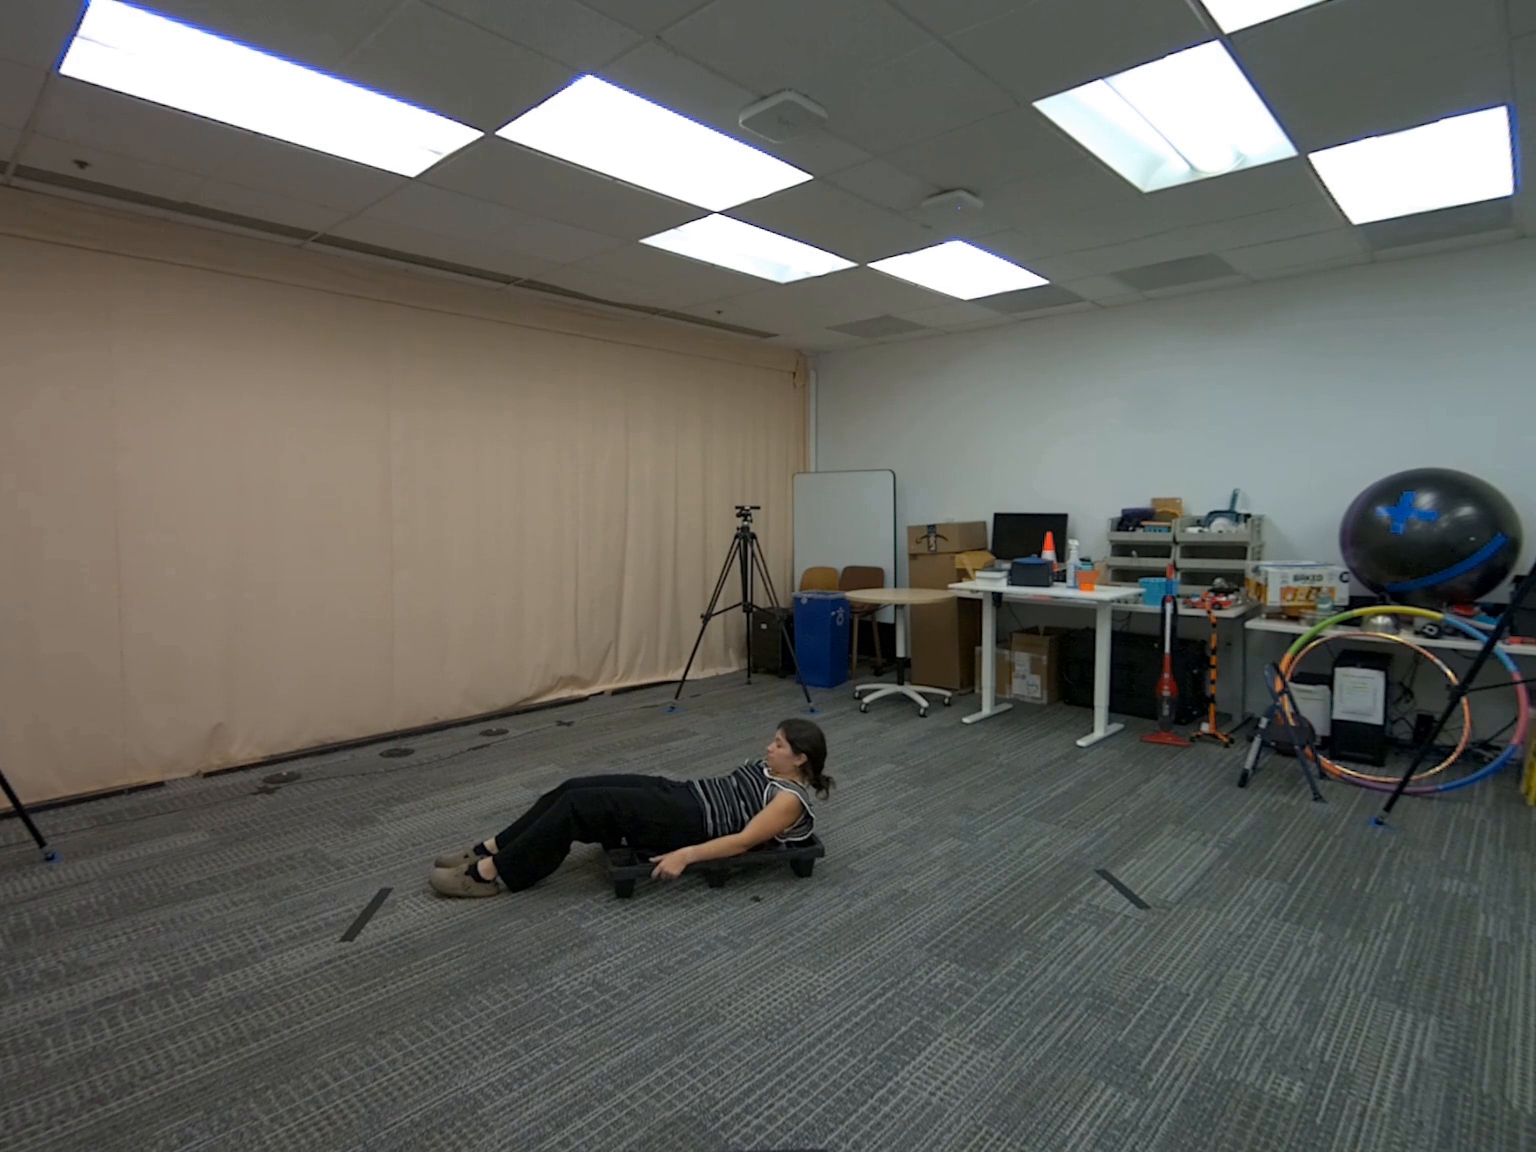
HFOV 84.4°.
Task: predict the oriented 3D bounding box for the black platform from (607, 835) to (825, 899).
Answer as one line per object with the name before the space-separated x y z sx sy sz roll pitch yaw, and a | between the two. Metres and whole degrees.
black platform | -0.262 1.057 3.296 0.794 0.143 0.616 -2 6 -14
